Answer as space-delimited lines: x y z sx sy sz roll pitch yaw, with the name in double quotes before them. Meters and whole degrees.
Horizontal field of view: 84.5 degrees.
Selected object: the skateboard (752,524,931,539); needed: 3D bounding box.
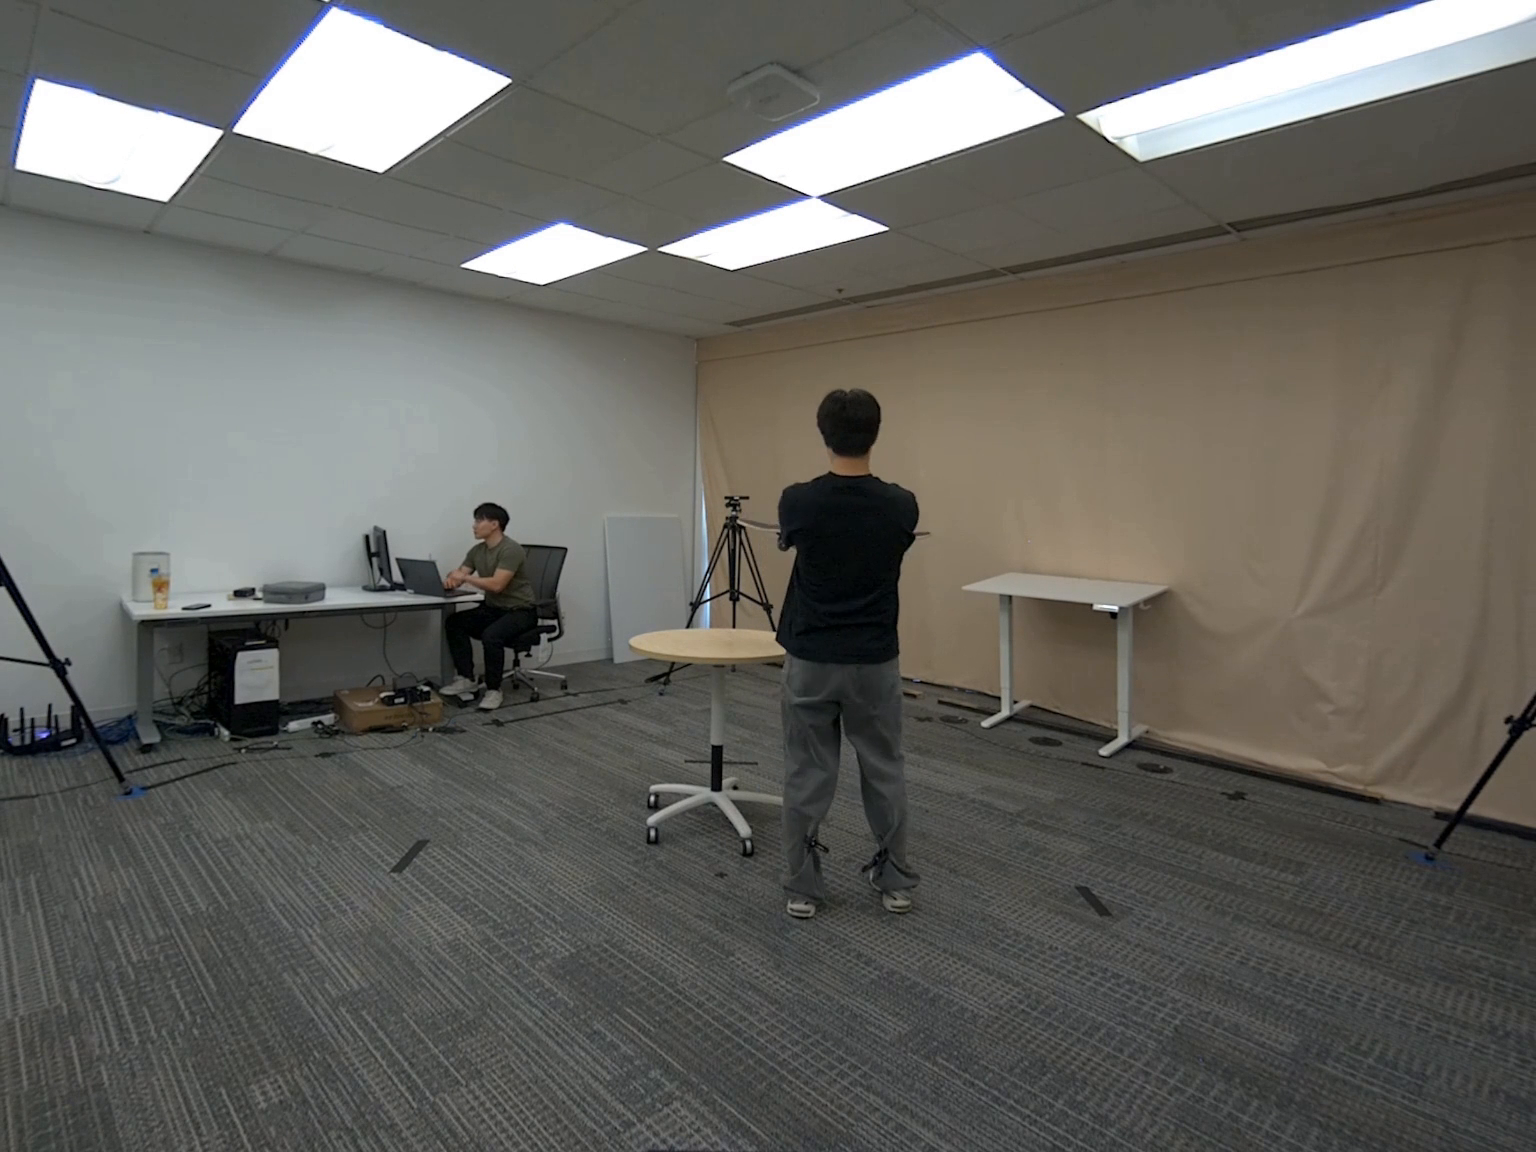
"skateboard" 0.268 -0.145 3.420 0.785 0.109 0.195 4 10 0
